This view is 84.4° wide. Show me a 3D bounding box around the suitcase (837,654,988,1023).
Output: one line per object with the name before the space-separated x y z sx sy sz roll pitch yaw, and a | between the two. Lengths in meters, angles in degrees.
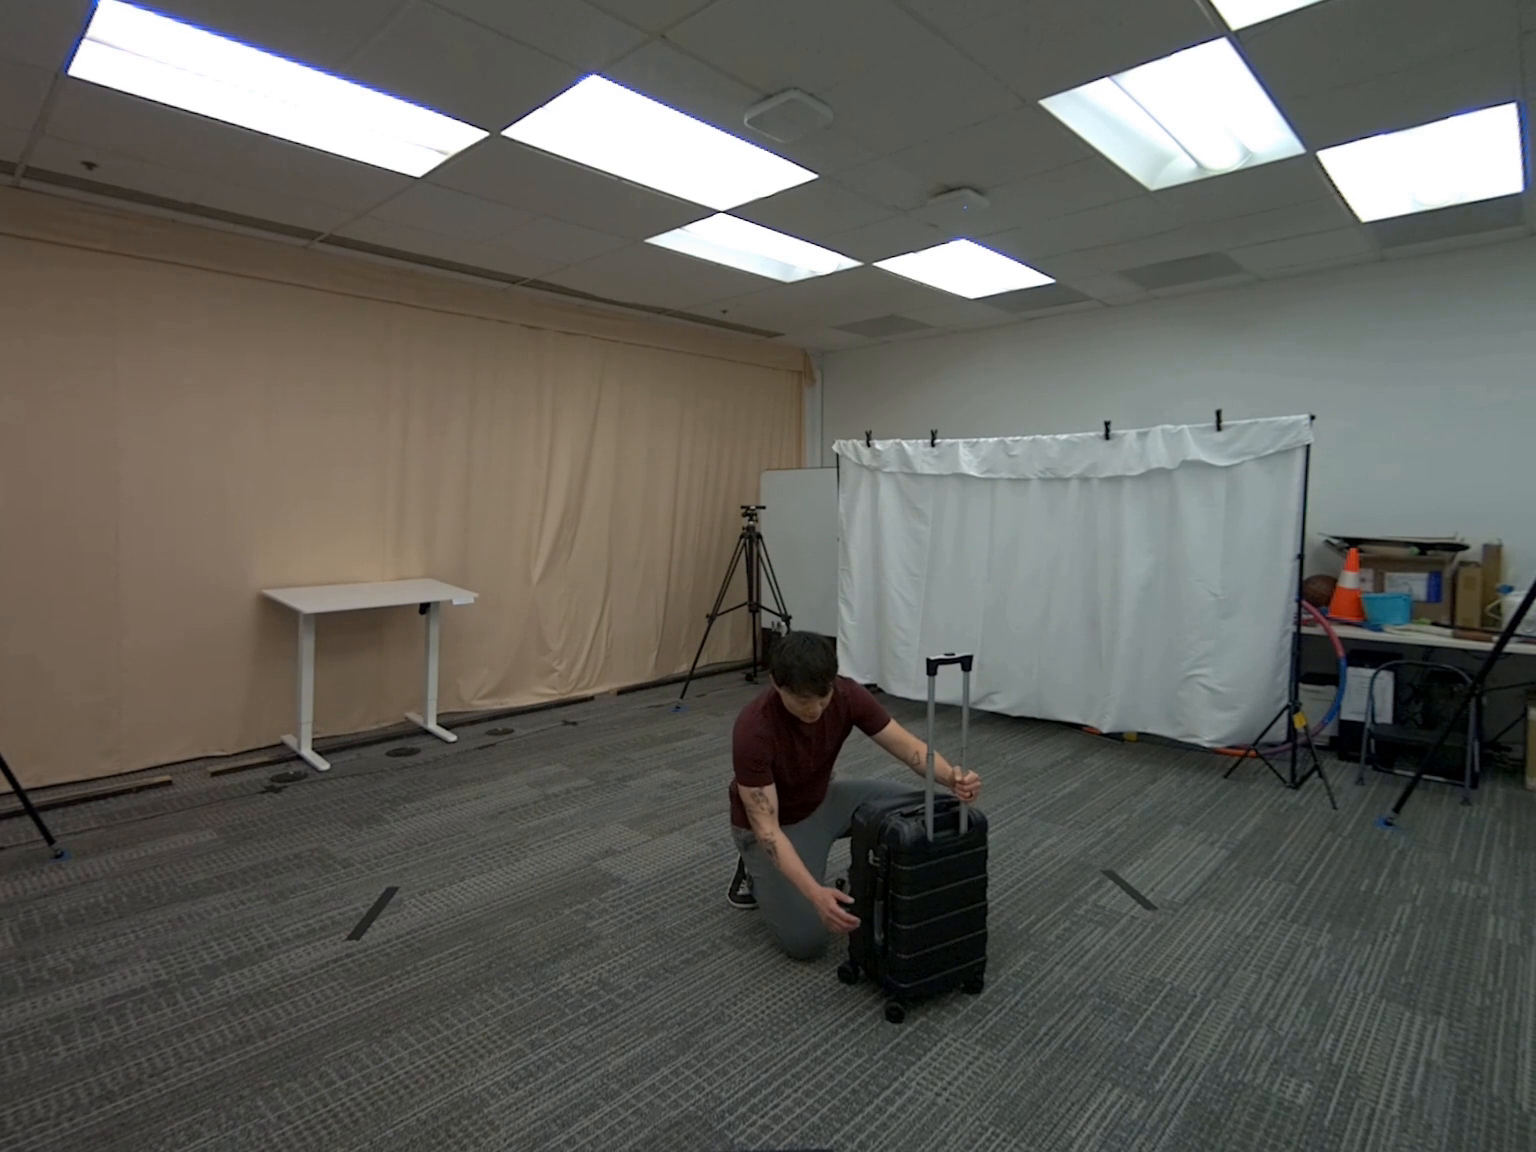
suitcase | 0.439 0.705 2.416 0.374 0.977 0.264 0 3 -29
